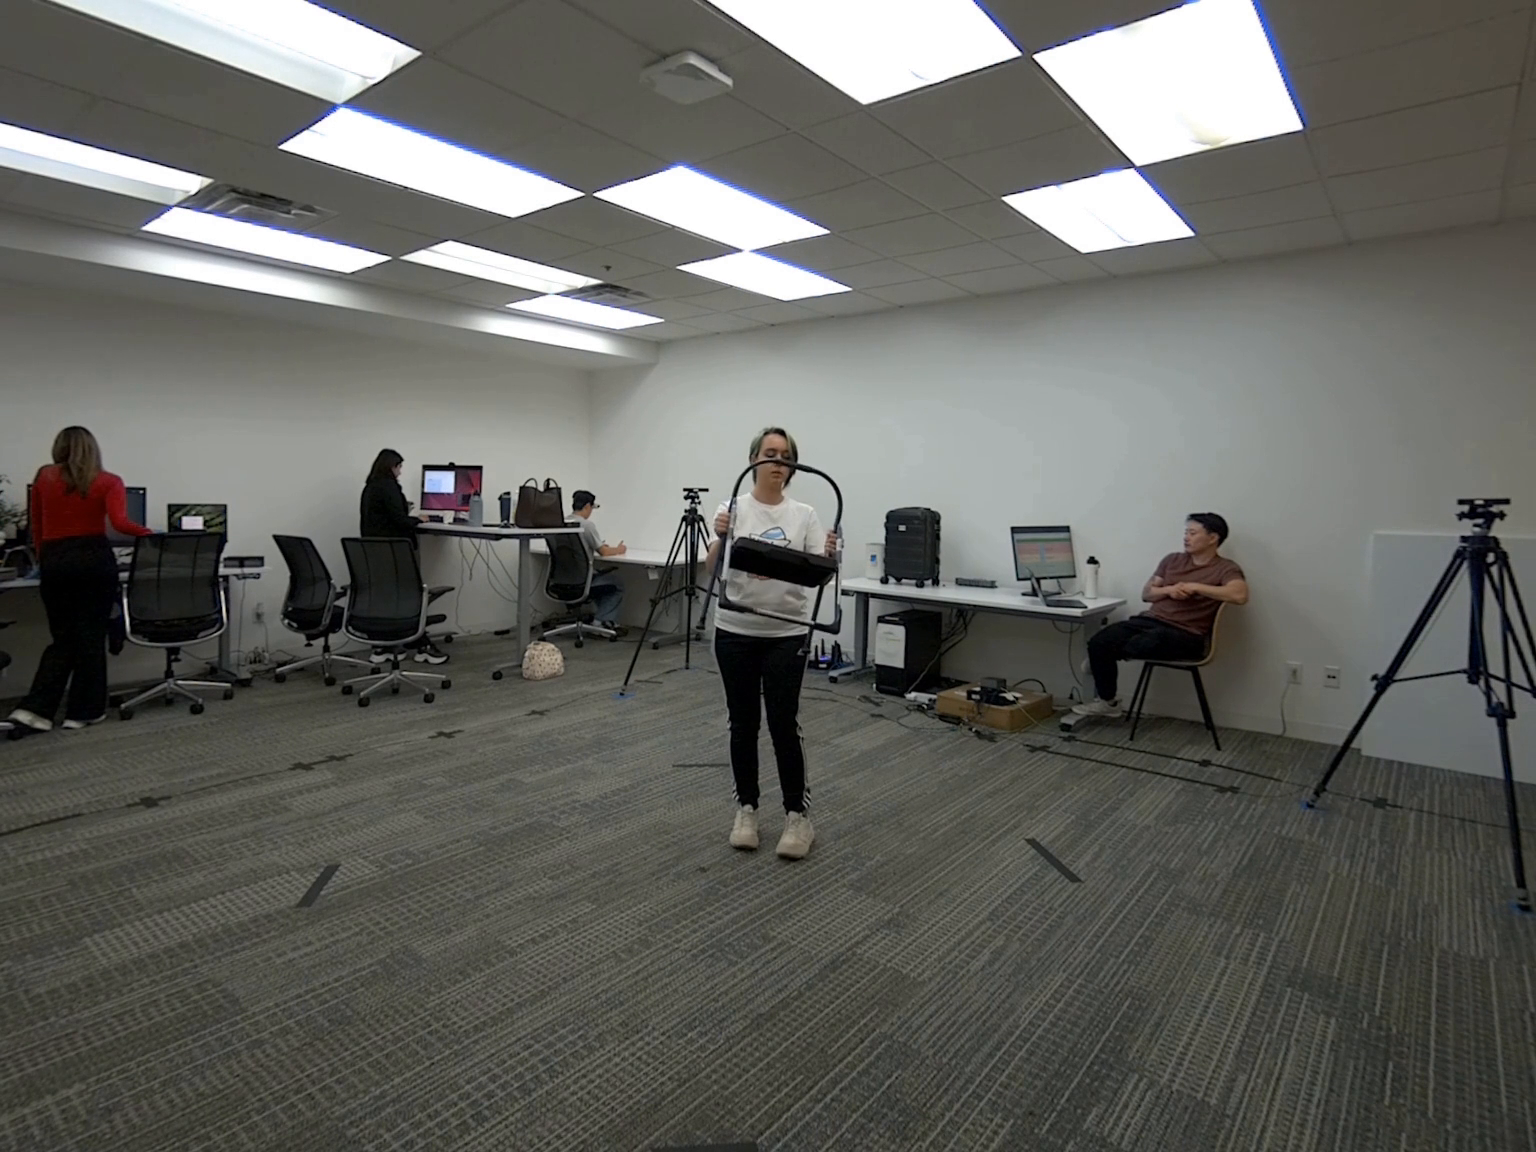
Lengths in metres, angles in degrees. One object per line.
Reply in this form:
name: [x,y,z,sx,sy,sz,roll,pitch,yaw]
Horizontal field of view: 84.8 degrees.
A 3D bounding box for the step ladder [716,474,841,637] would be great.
step ladder: [0.039,-0.097,2.996,0.425,0.614,0.349,14,-19,-11]
